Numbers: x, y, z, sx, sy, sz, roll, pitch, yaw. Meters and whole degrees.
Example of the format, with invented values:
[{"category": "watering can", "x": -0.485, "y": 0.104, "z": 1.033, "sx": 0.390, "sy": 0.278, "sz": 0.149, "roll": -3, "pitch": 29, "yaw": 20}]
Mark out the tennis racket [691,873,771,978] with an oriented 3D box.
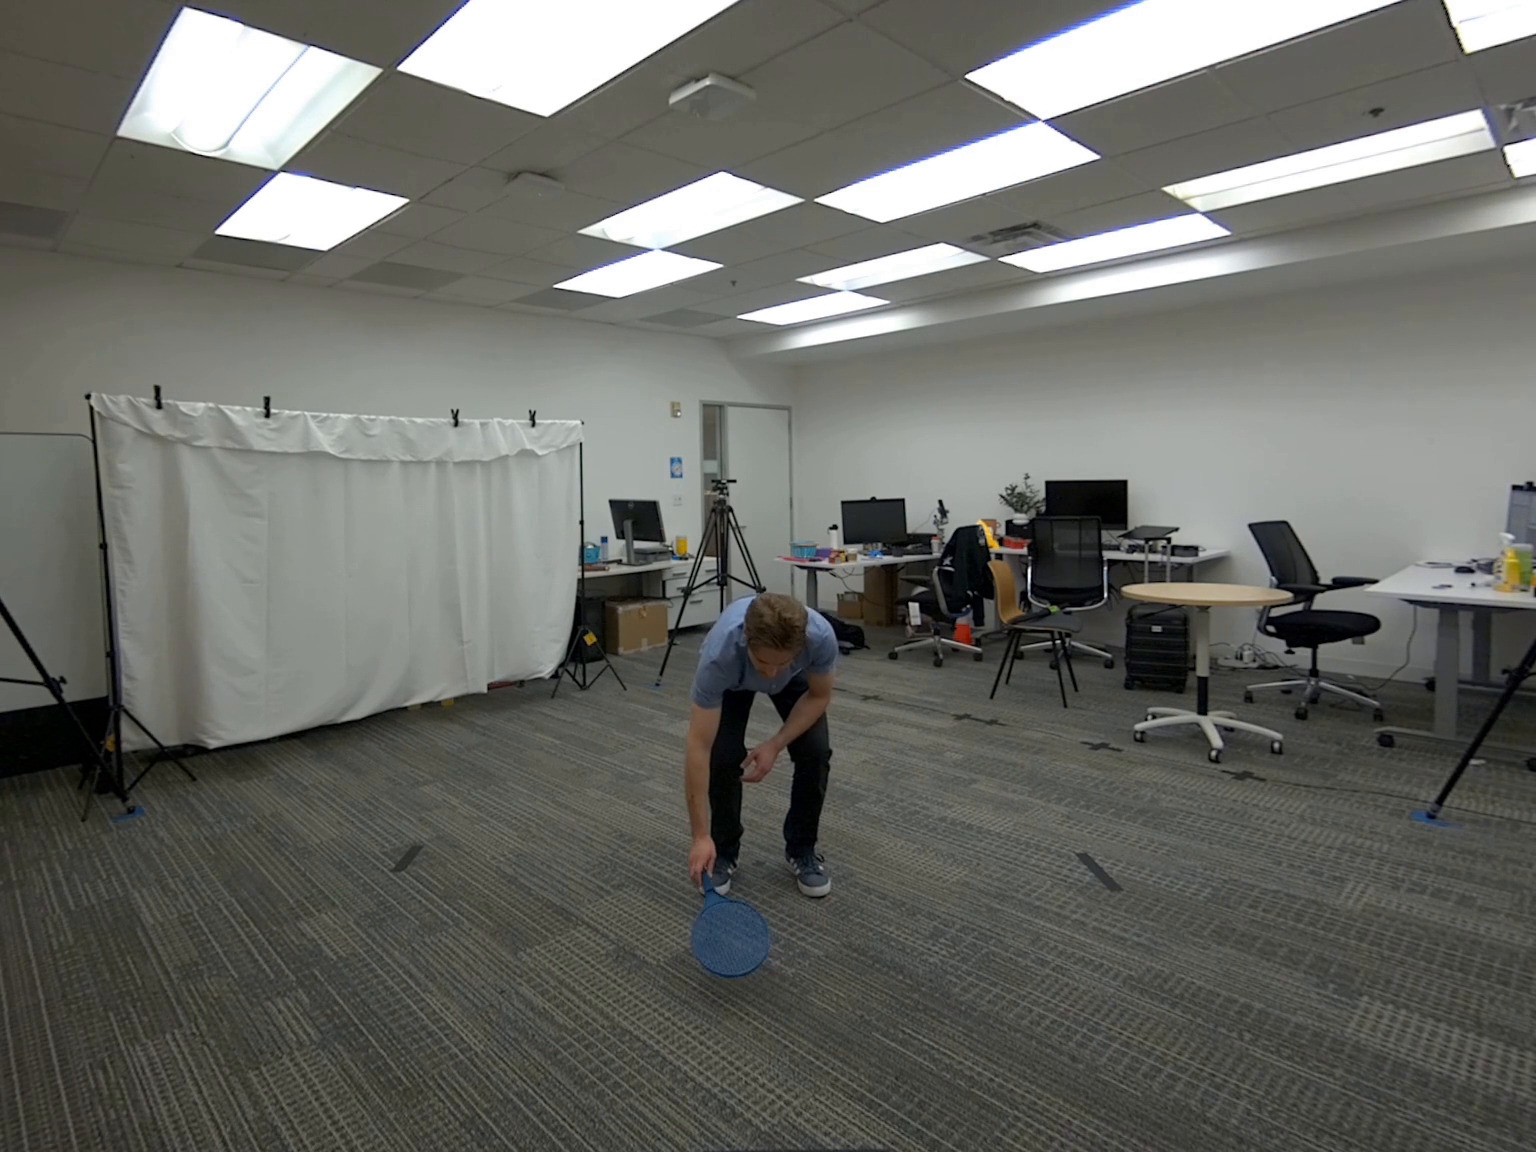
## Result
[{"category": "tennis racket", "x": -0.130, "y": 0.973, "z": 2.446, "sx": 0.212, "sy": 0.031, "sz": 0.446, "roll": -15, "pitch": 24, "yaw": -14}]
